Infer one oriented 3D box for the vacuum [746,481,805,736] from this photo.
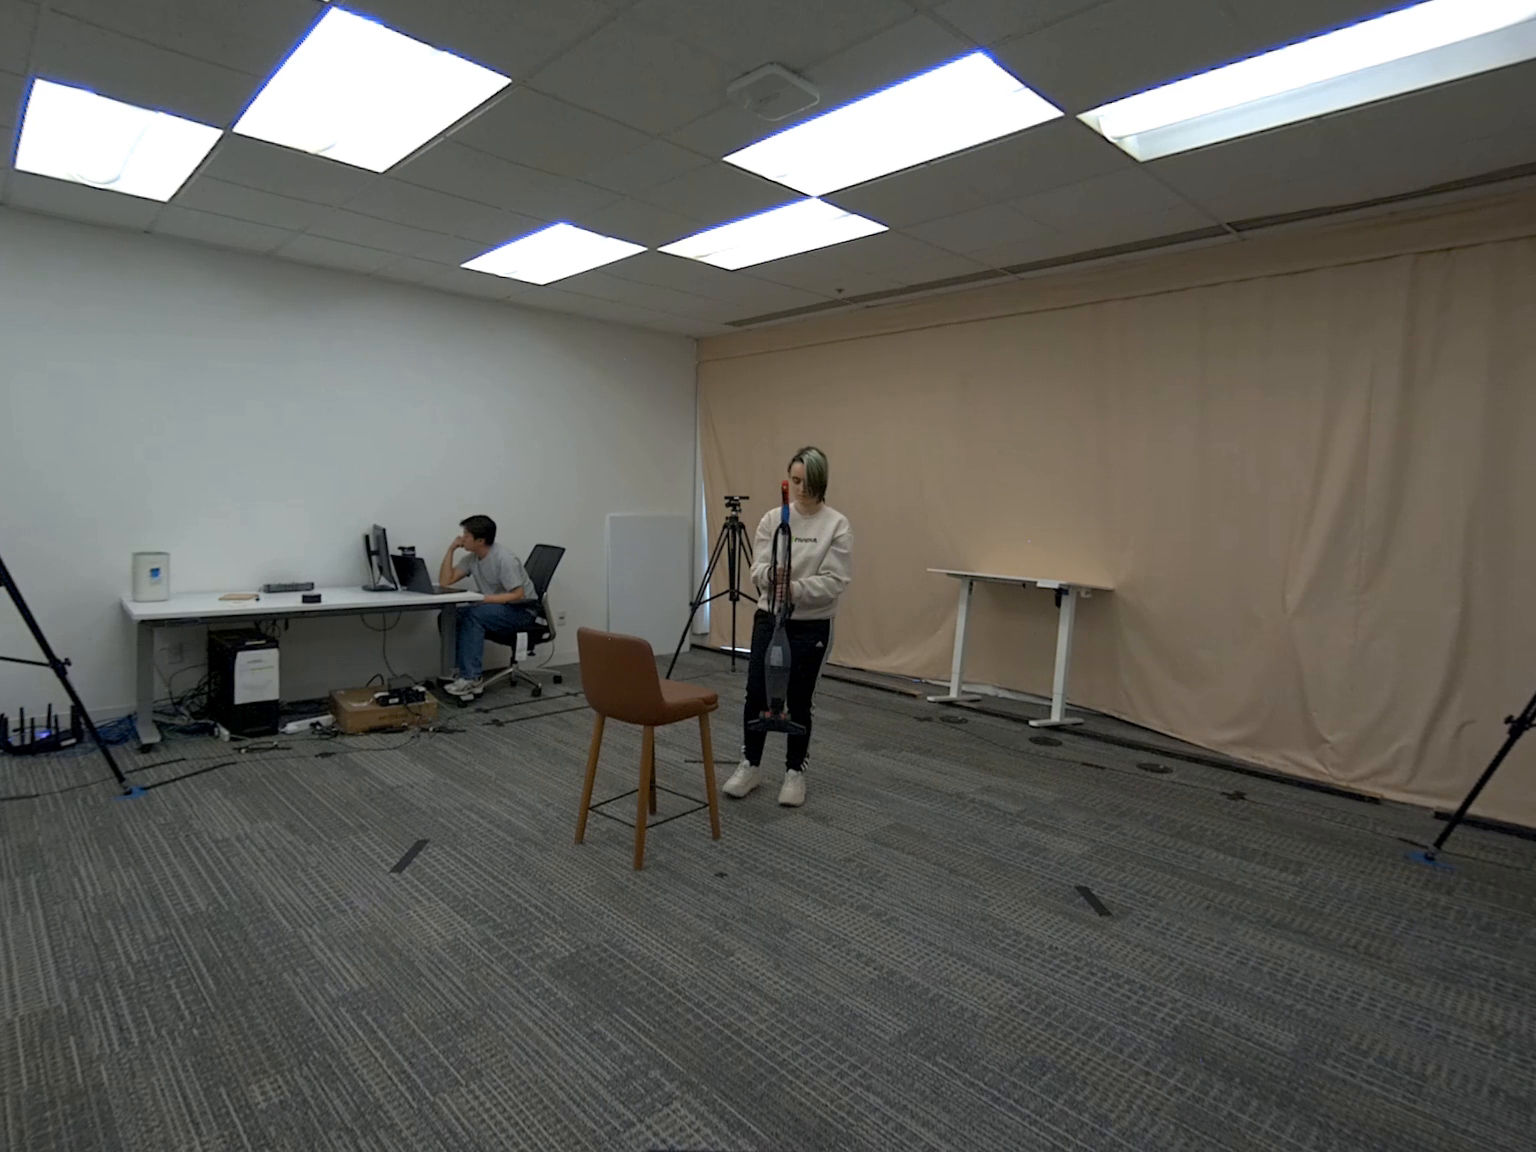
[{"bbox_3d":[0.043,0.121,3.593,0.254,1.043,0.144,3,8,6],"label":"vacuum"}]
